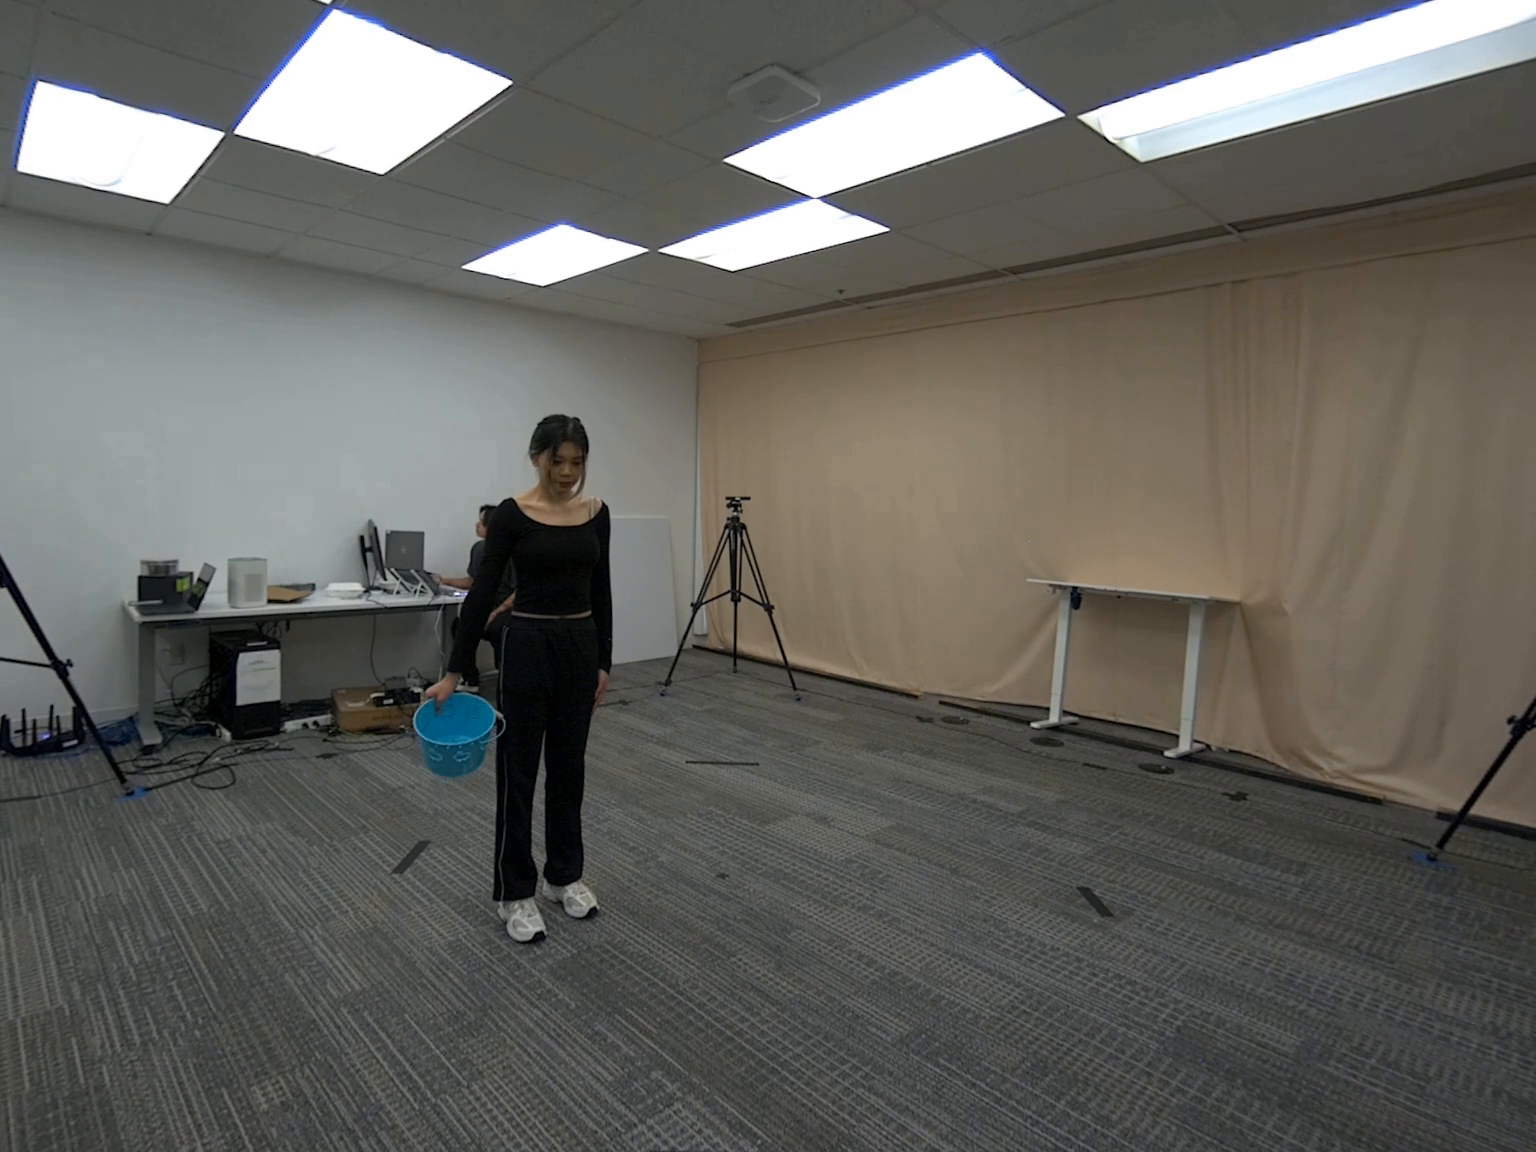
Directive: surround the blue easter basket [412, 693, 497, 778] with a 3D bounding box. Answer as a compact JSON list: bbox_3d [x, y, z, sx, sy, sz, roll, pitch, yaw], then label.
[{"bbox_3d":[-0.964,0.492,2.526,0.242,0.154,0.248,7,27,-5],"label":"blue easter basket"}]
